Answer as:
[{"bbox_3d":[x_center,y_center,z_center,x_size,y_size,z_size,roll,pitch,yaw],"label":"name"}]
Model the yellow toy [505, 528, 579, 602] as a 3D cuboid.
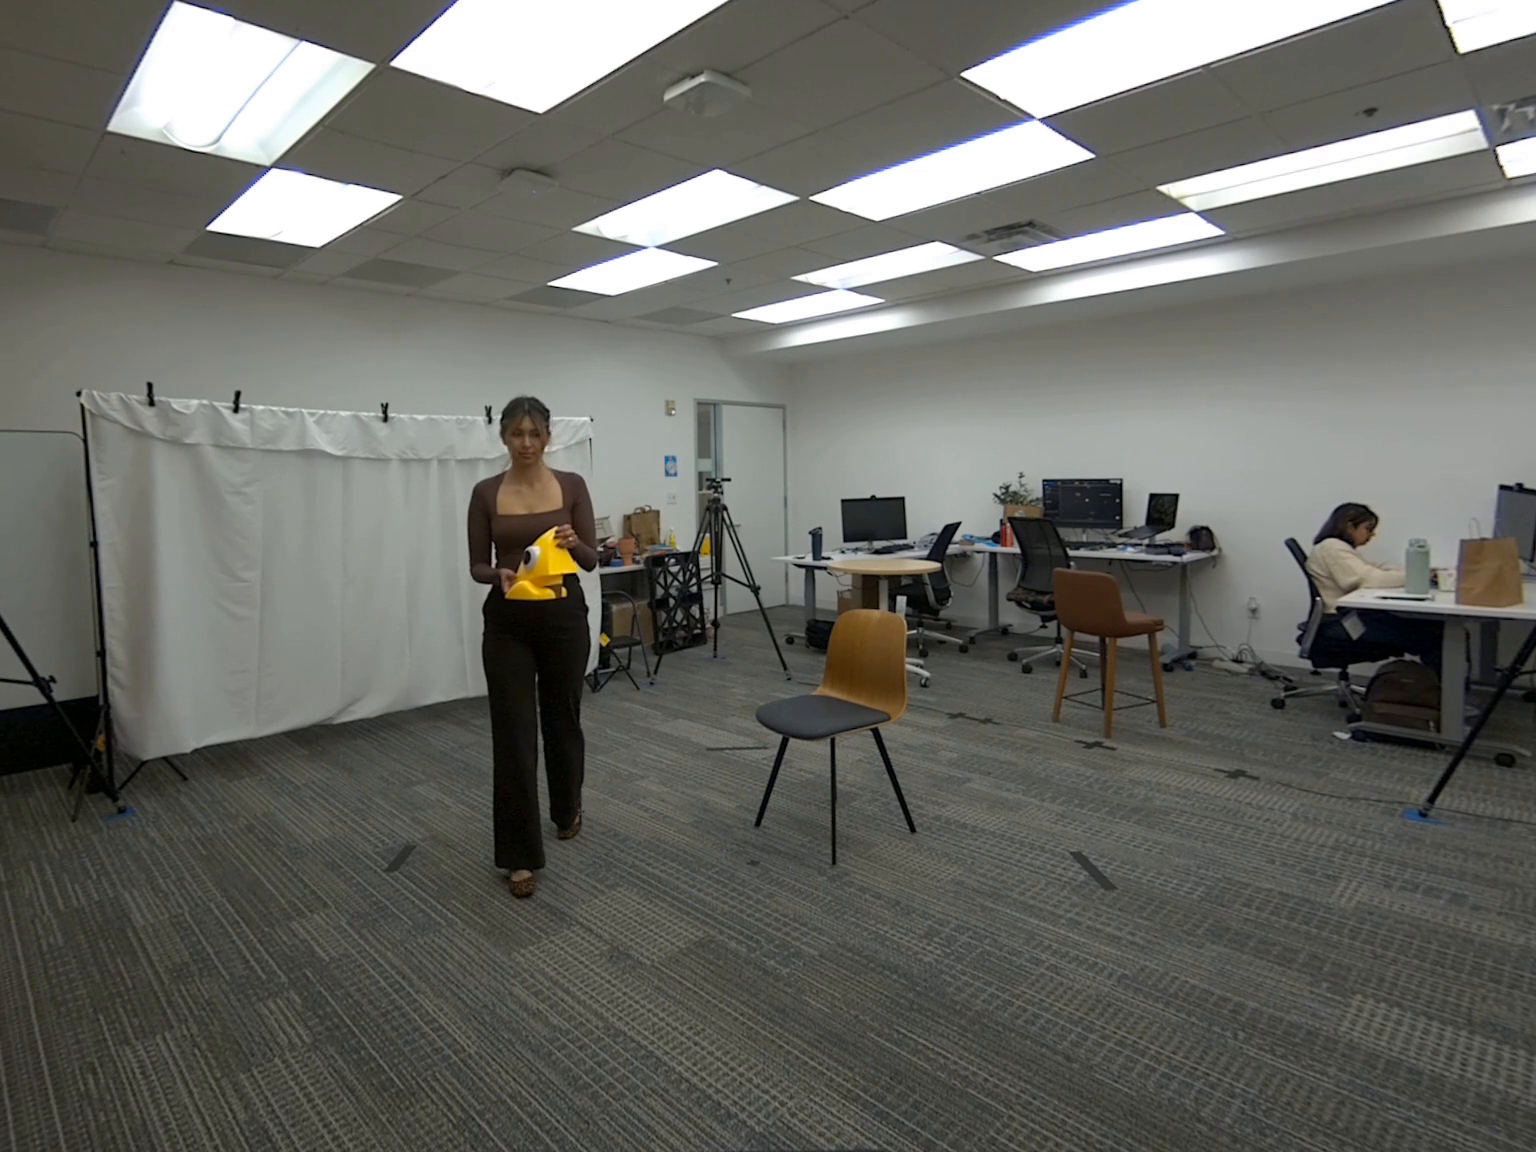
[{"bbox_3d":[-0.752,-0.045,2.796,0.196,0.230,0.202,3,1,14],"label":"yellow toy"}]
